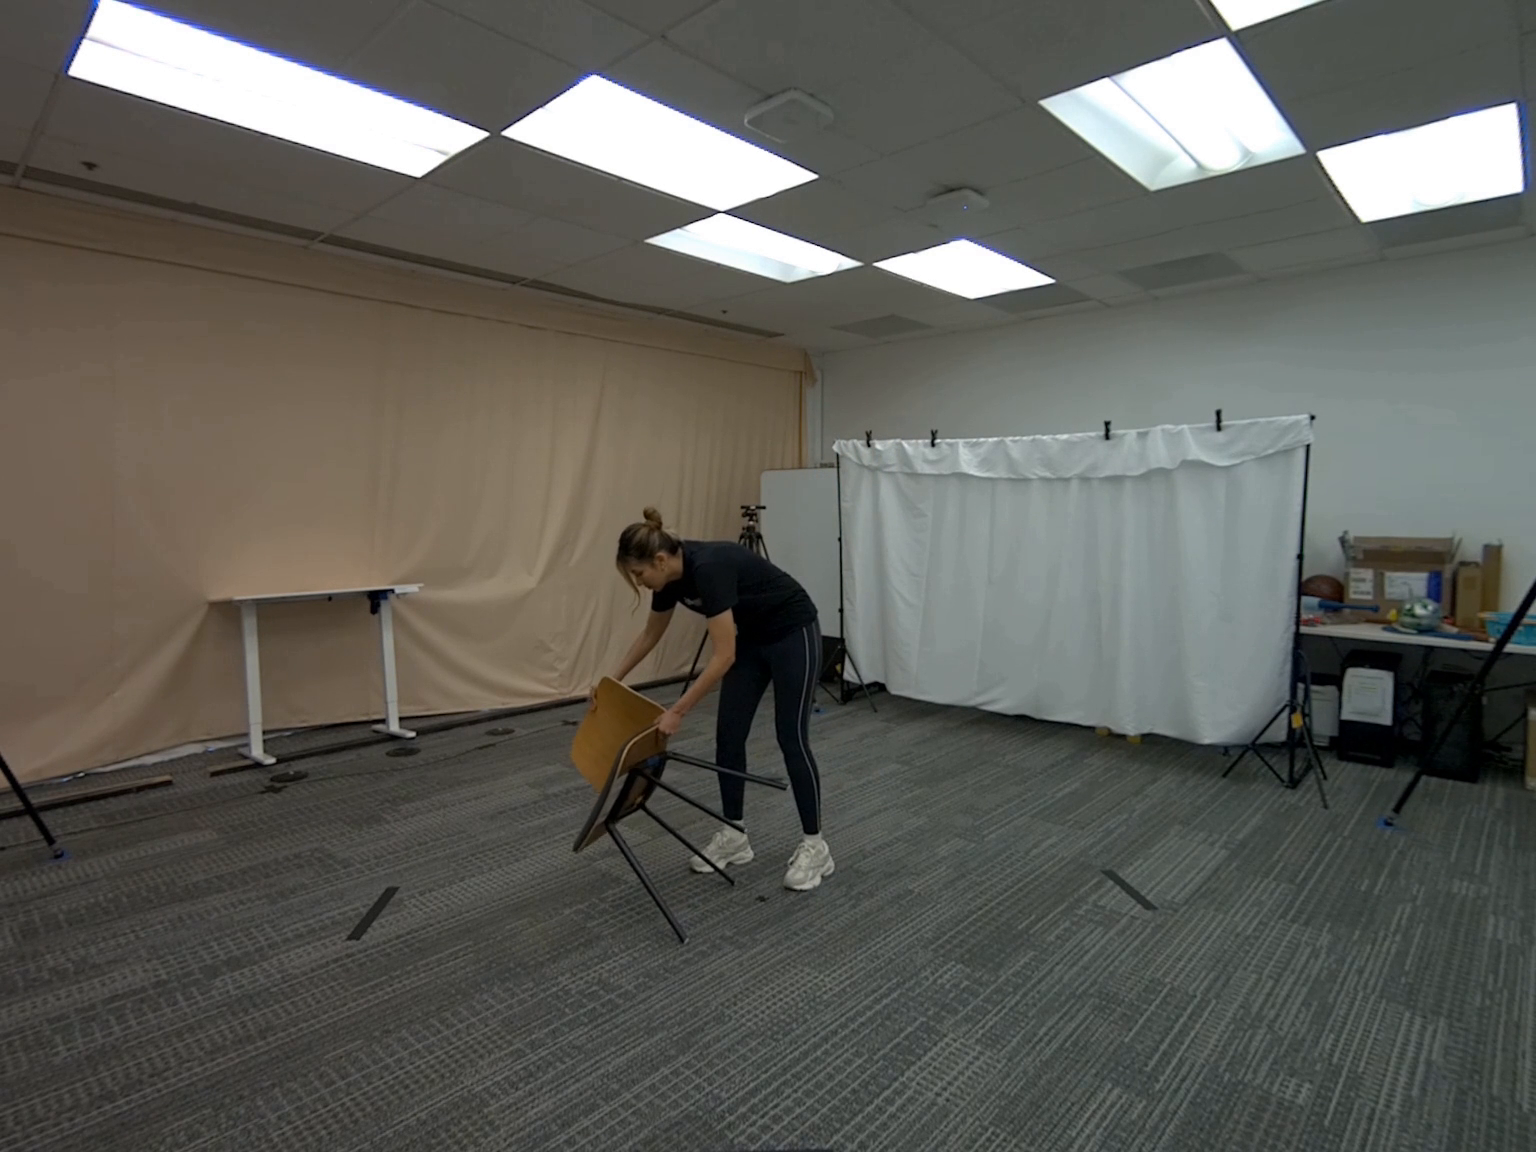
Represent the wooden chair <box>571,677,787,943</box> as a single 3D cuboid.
[{"bbox_3d":[-0.453,0.759,2.954,0.900,0.477,0.510,31,13,21],"label":"wooden chair"}]
